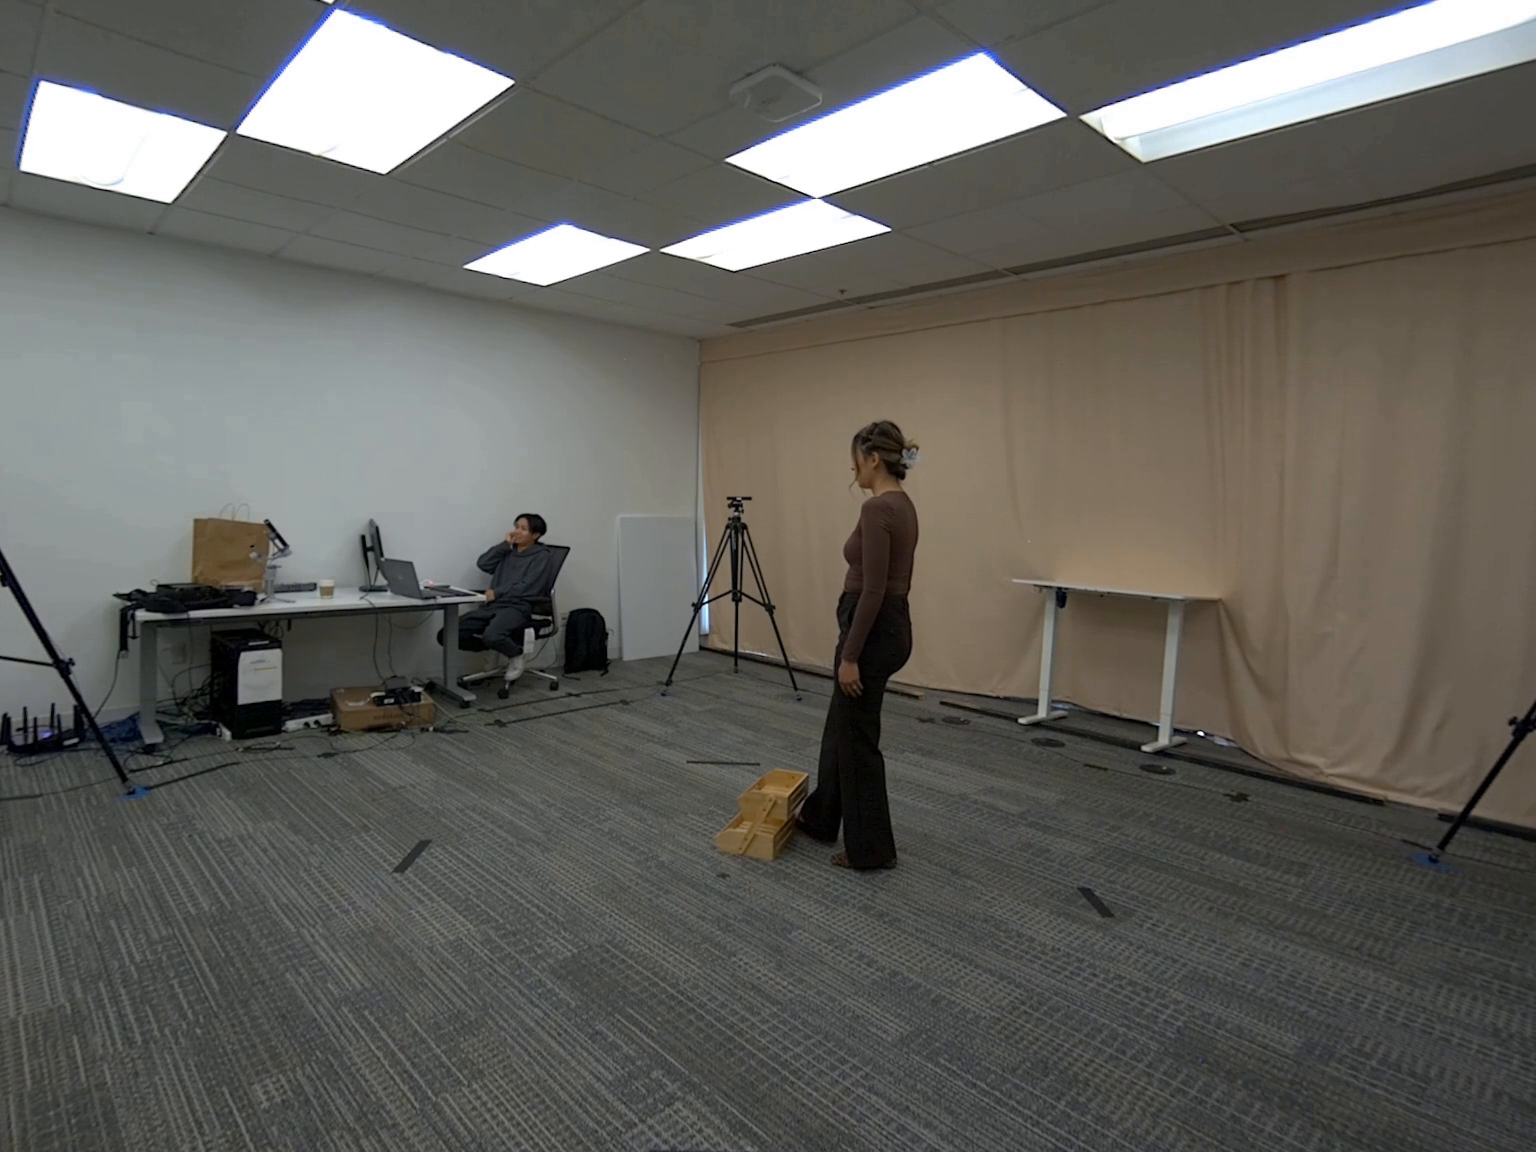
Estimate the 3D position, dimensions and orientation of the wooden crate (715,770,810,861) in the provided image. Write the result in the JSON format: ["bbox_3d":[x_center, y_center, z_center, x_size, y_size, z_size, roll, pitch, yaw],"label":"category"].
[{"bbox_3d":[-0.030,0.942,3.409,0.307,0.272,0.320,4,5,19],"label":"wooden crate"}]
